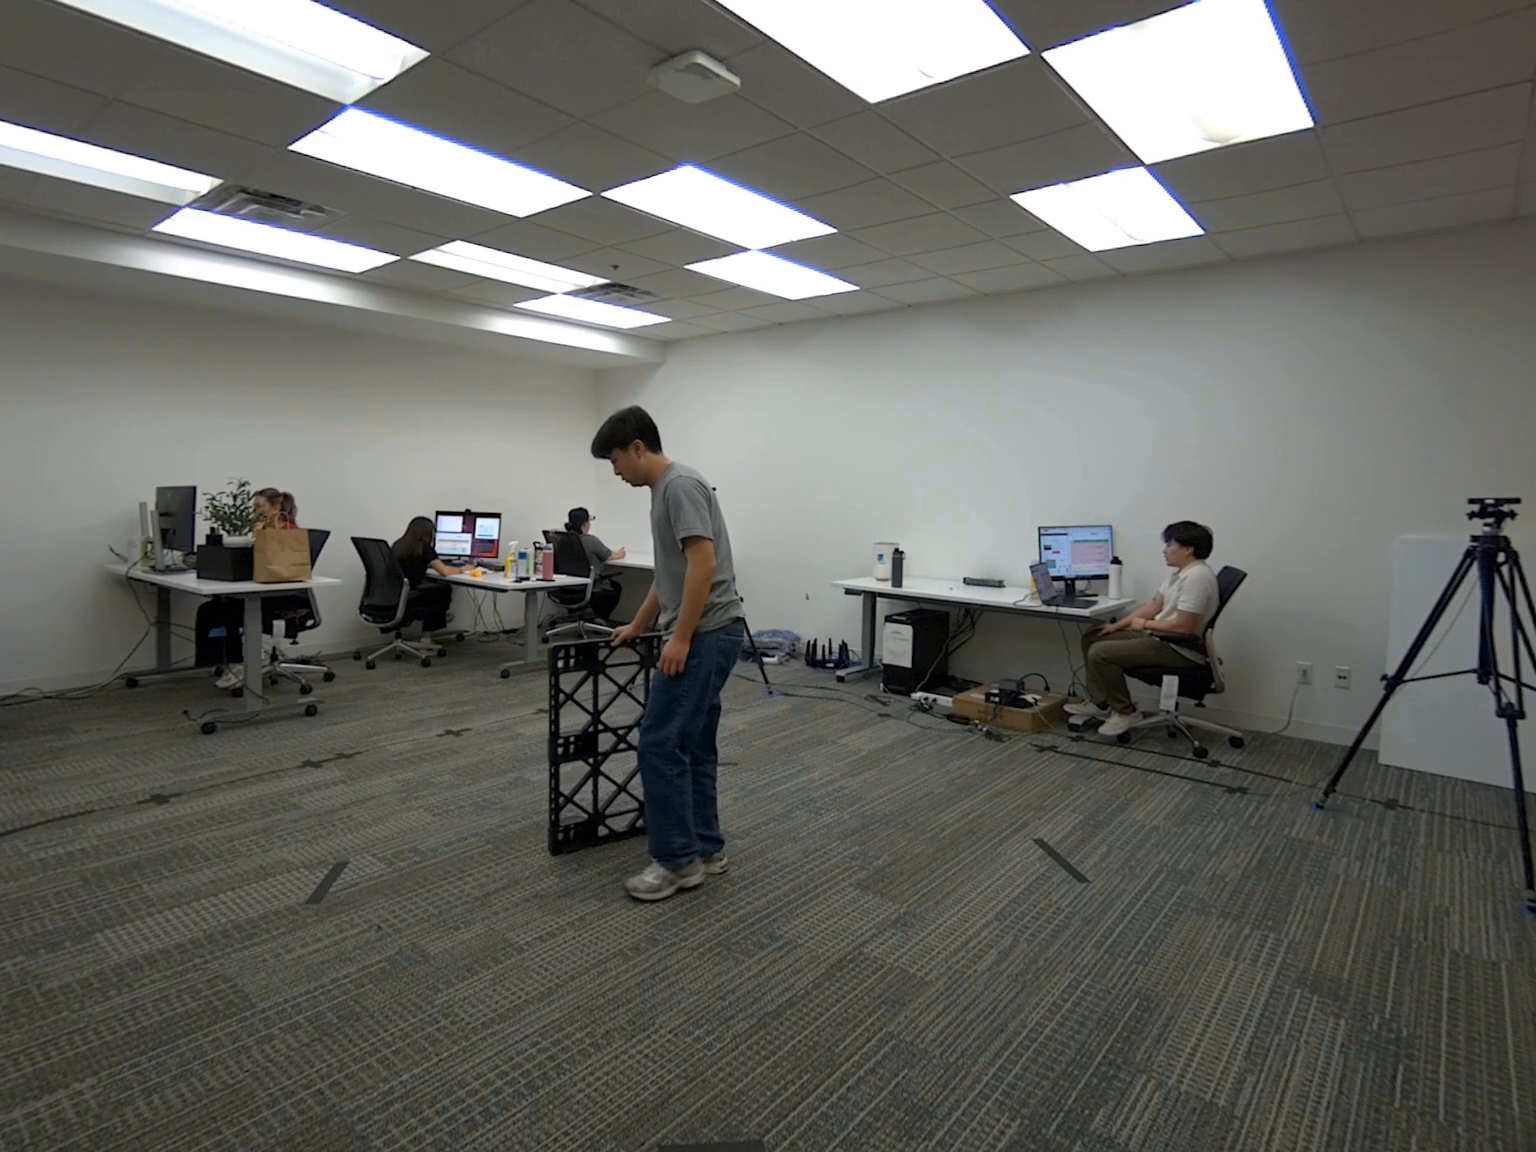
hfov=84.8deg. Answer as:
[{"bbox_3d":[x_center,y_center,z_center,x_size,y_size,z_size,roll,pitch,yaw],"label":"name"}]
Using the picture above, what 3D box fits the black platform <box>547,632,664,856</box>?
[{"bbox_3d":[-0.603,0.623,3.371,0.588,0.803,0.148,-2,4,-33],"label":"black platform"}]
